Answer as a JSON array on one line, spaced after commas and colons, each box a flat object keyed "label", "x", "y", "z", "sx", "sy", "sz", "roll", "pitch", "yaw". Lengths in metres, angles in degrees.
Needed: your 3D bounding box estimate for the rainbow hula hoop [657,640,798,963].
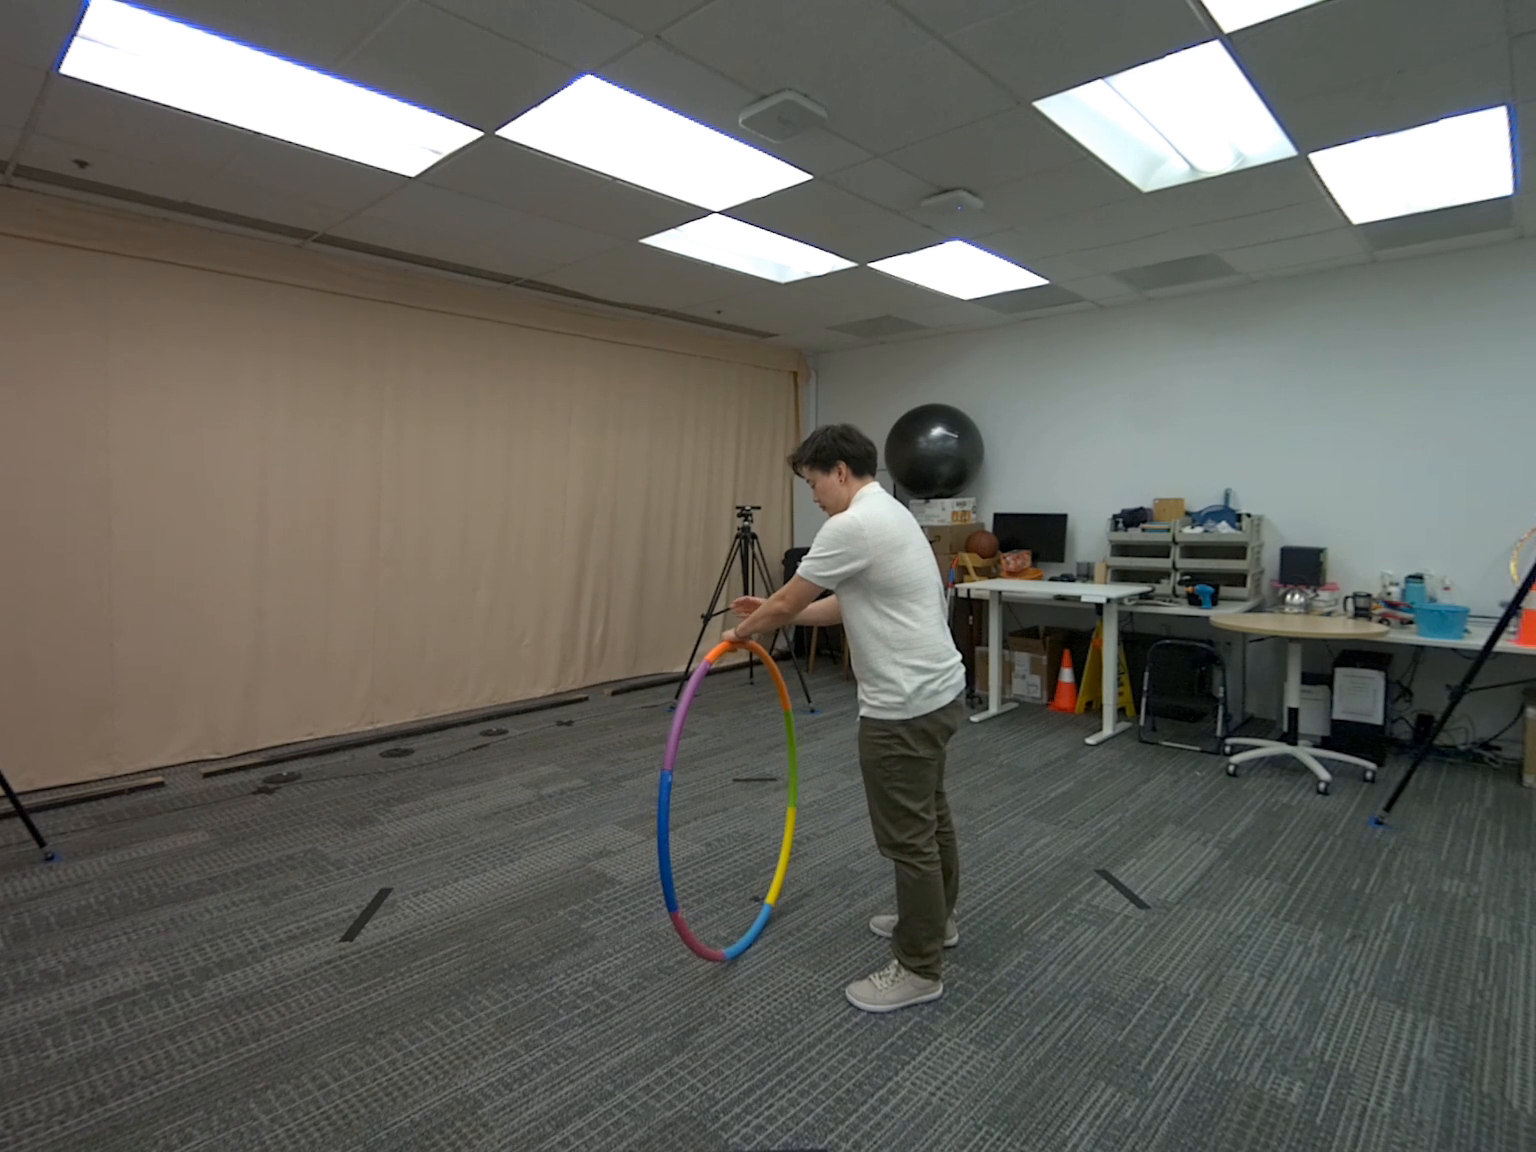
[{"label": "rainbow hula hoop", "x": -0.086, "y": 0.690, "z": 2.674, "sx": 0.036, "sy": 0.978, "sz": 0.956, "roll": -3, "pitch": 2, "yaw": 24}]
